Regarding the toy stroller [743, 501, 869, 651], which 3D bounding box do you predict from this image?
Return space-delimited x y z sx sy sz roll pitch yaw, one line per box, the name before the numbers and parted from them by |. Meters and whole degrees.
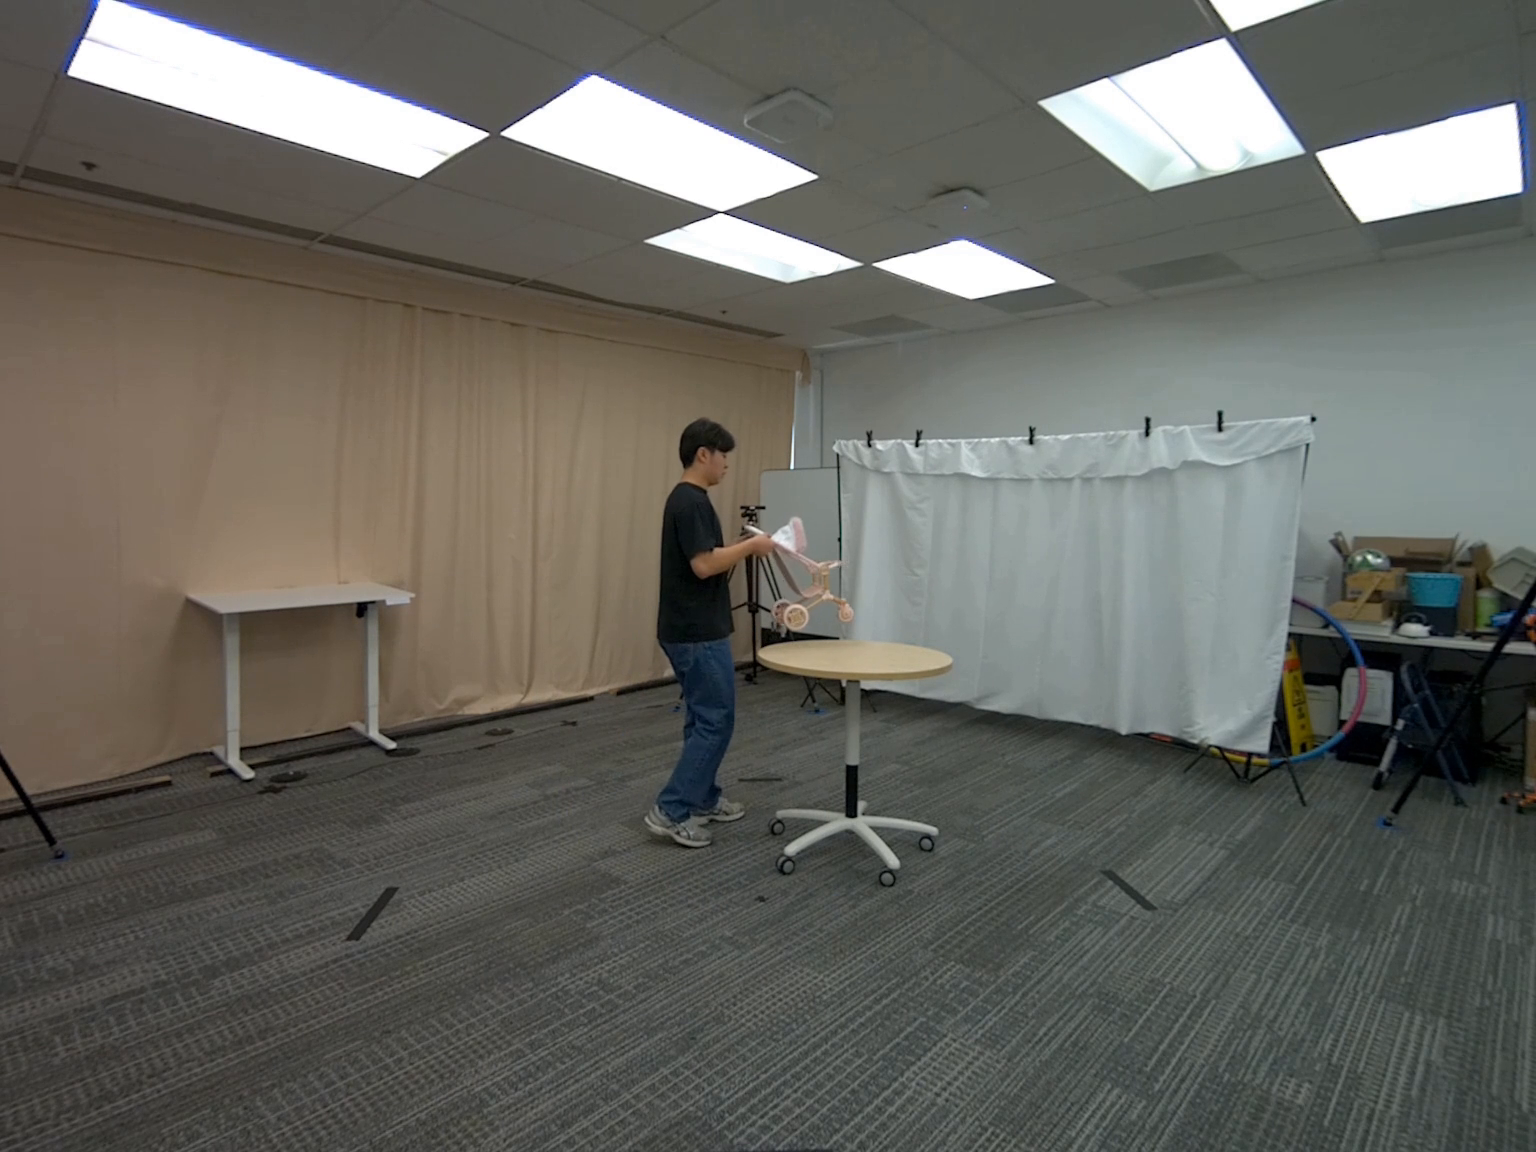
toy stroller | 0.153 -0.012 3.626 0.340 0.533 0.283 -18 4 -4
